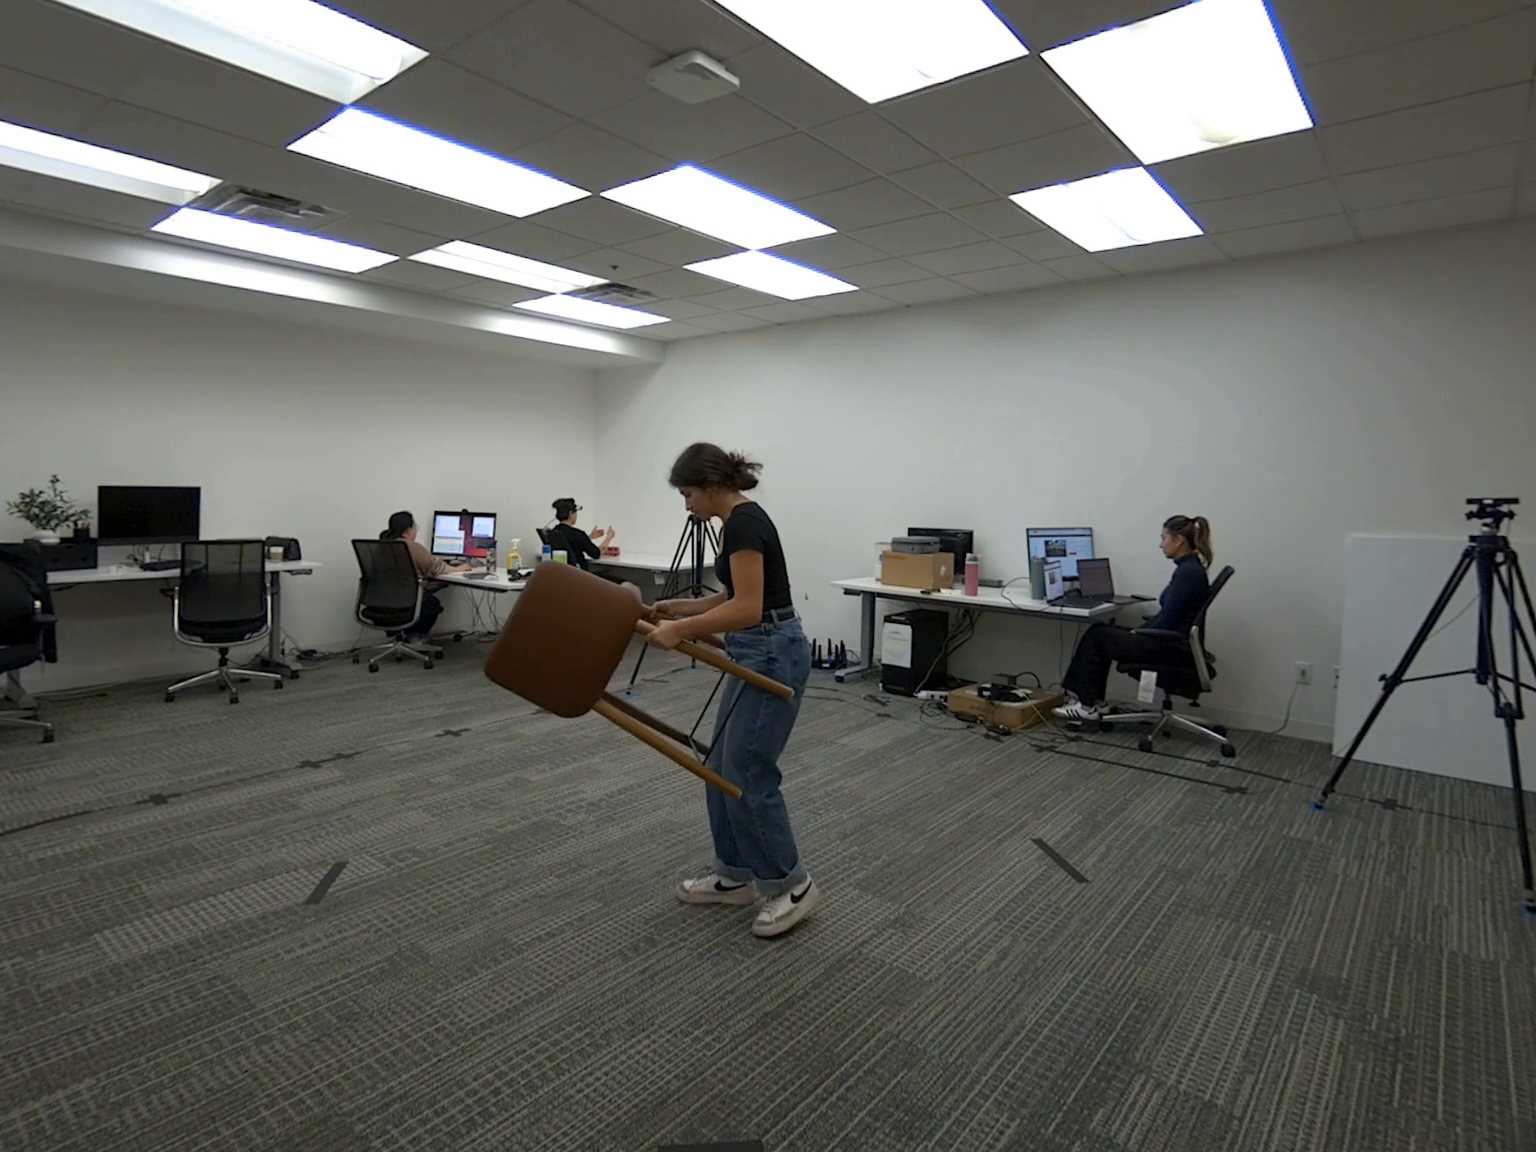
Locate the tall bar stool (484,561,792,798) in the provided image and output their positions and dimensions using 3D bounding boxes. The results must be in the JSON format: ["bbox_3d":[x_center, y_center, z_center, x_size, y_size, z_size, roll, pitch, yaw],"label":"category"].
[{"bbox_3d":[-0.434,0.302,2.775,0.879,0.456,0.473,28,0,-9],"label":"tall bar stool"}]
